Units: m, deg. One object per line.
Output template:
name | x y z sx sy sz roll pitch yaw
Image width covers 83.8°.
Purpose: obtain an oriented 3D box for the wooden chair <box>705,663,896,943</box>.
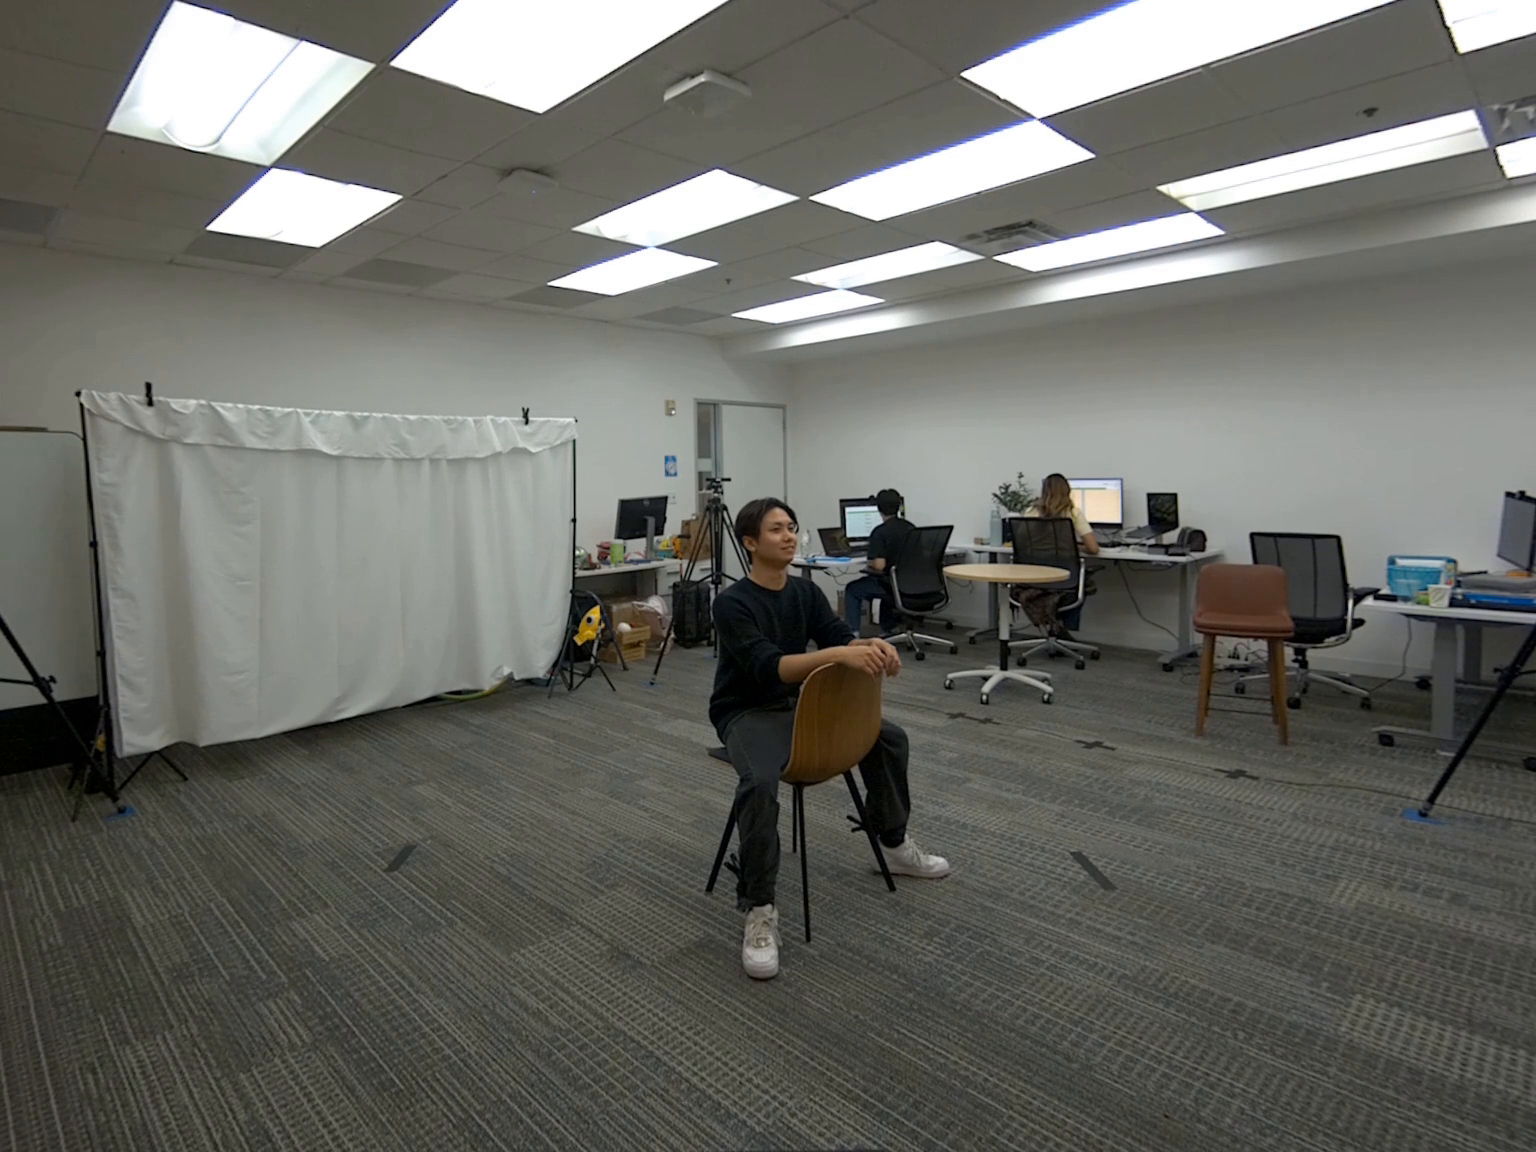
wooden chair | 0.091 0.634 2.861 0.465 0.872 0.540 -5 9 -44
